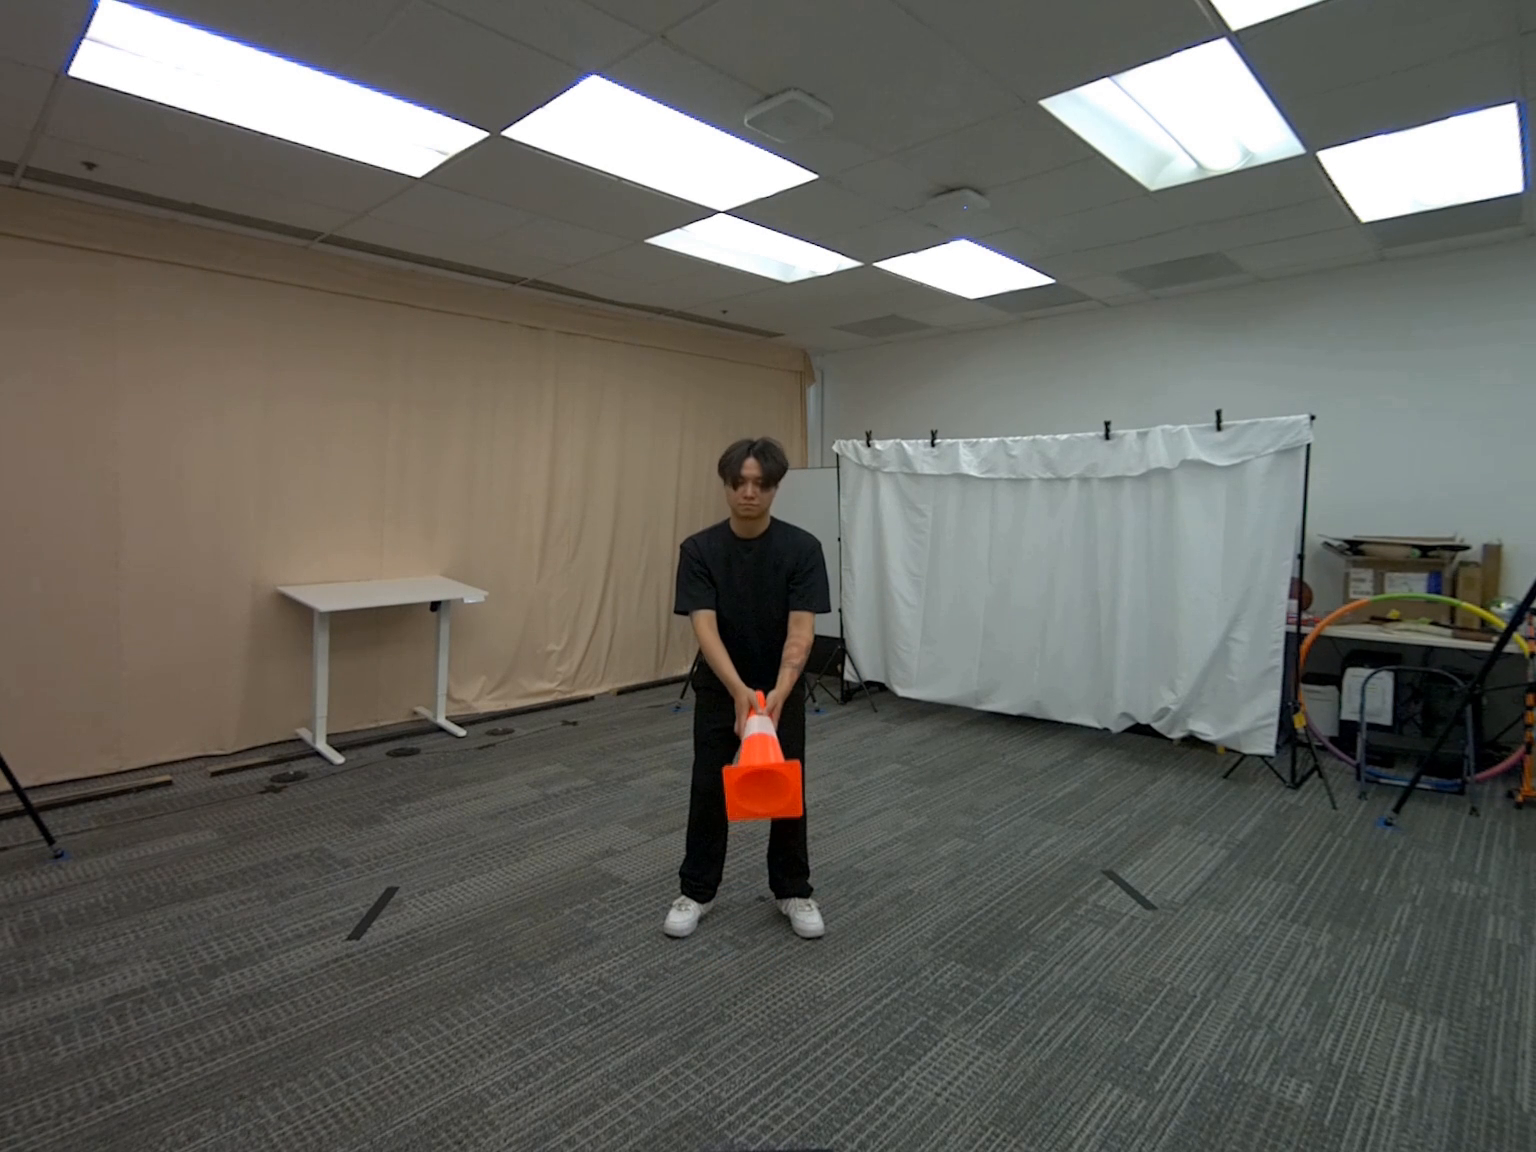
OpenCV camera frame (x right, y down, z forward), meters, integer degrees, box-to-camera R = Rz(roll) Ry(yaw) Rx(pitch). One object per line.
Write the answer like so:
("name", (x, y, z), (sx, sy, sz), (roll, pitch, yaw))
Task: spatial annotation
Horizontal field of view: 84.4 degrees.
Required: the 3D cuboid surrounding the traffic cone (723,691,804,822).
("traffic cone", (-0.022, 0.453, 2.345), (0.205, 0.199, 0.390), (-6, 30, 1))
